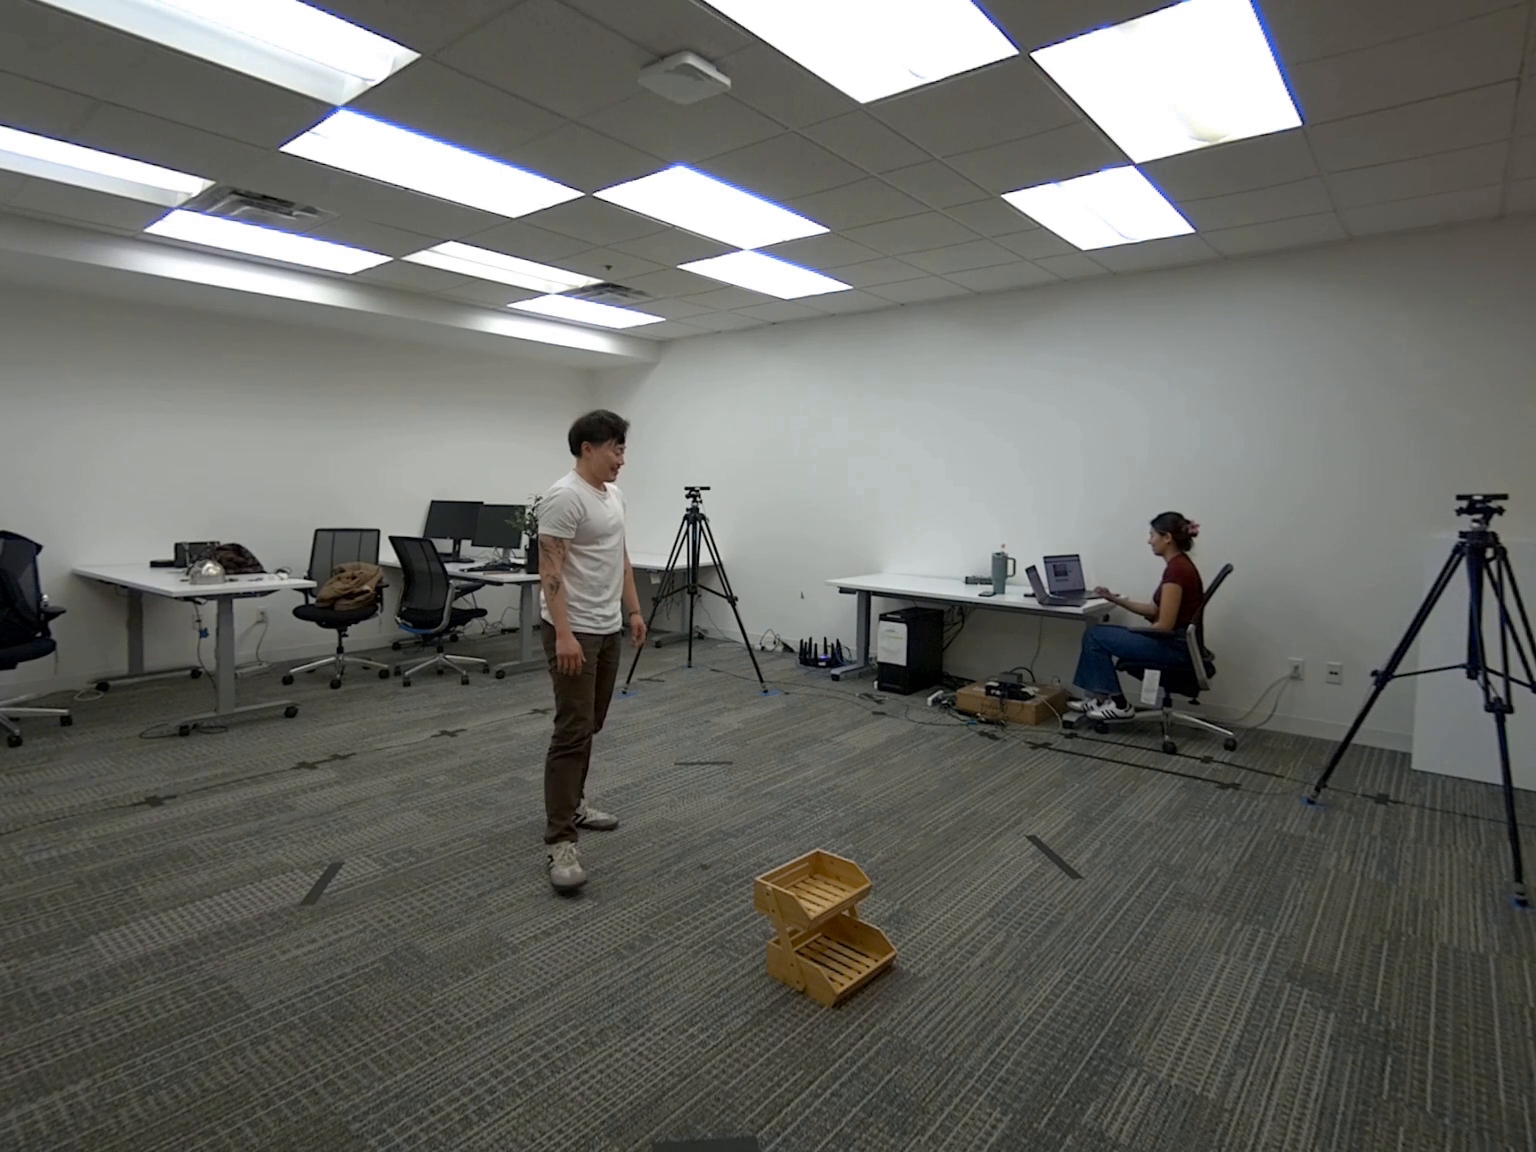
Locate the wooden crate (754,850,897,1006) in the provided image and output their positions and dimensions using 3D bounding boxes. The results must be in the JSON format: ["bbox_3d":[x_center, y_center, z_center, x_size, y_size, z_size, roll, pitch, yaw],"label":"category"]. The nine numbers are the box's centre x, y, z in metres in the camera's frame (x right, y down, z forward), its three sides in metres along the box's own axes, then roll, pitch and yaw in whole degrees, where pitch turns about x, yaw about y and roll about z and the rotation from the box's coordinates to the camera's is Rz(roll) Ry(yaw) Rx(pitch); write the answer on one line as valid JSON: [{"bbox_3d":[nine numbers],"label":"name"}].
[{"bbox_3d":[0.166,1.003,2.468,0.312,0.272,0.315,4,5,42],"label":"wooden crate"}]
